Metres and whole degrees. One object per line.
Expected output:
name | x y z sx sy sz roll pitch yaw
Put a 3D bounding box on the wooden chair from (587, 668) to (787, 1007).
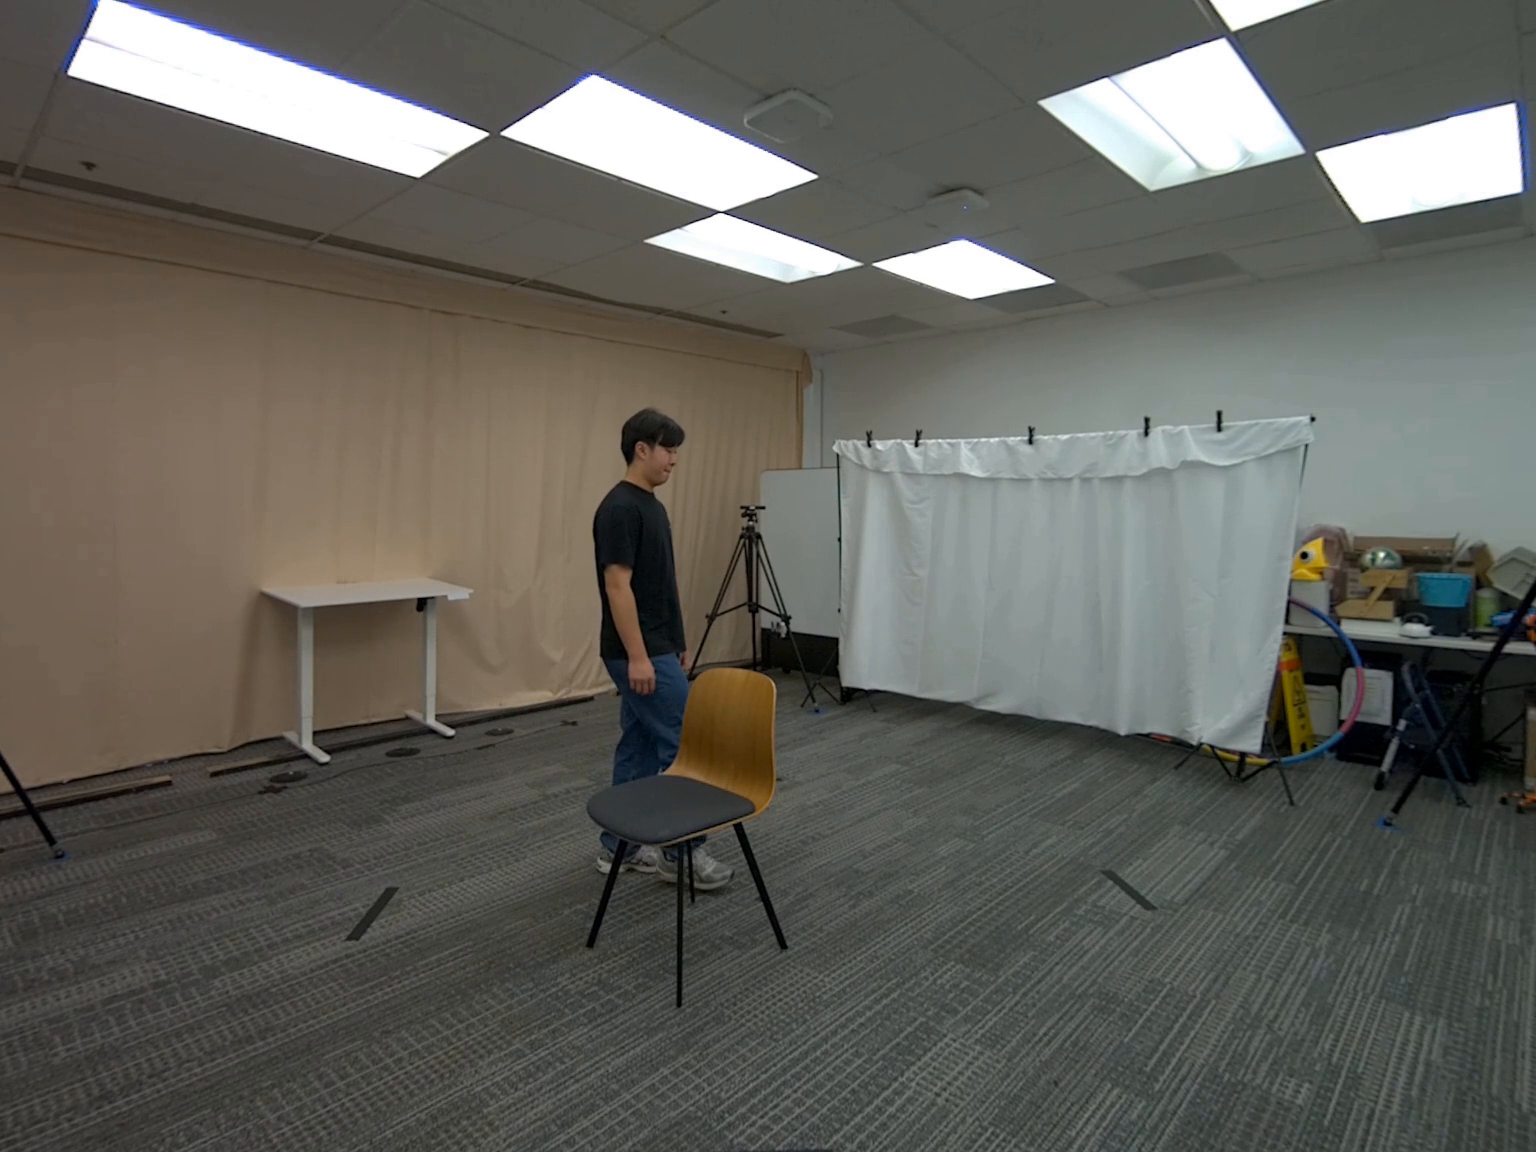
wooden chair | -0.254 0.749 2.618 0.494 0.877 0.506 3 1 44
